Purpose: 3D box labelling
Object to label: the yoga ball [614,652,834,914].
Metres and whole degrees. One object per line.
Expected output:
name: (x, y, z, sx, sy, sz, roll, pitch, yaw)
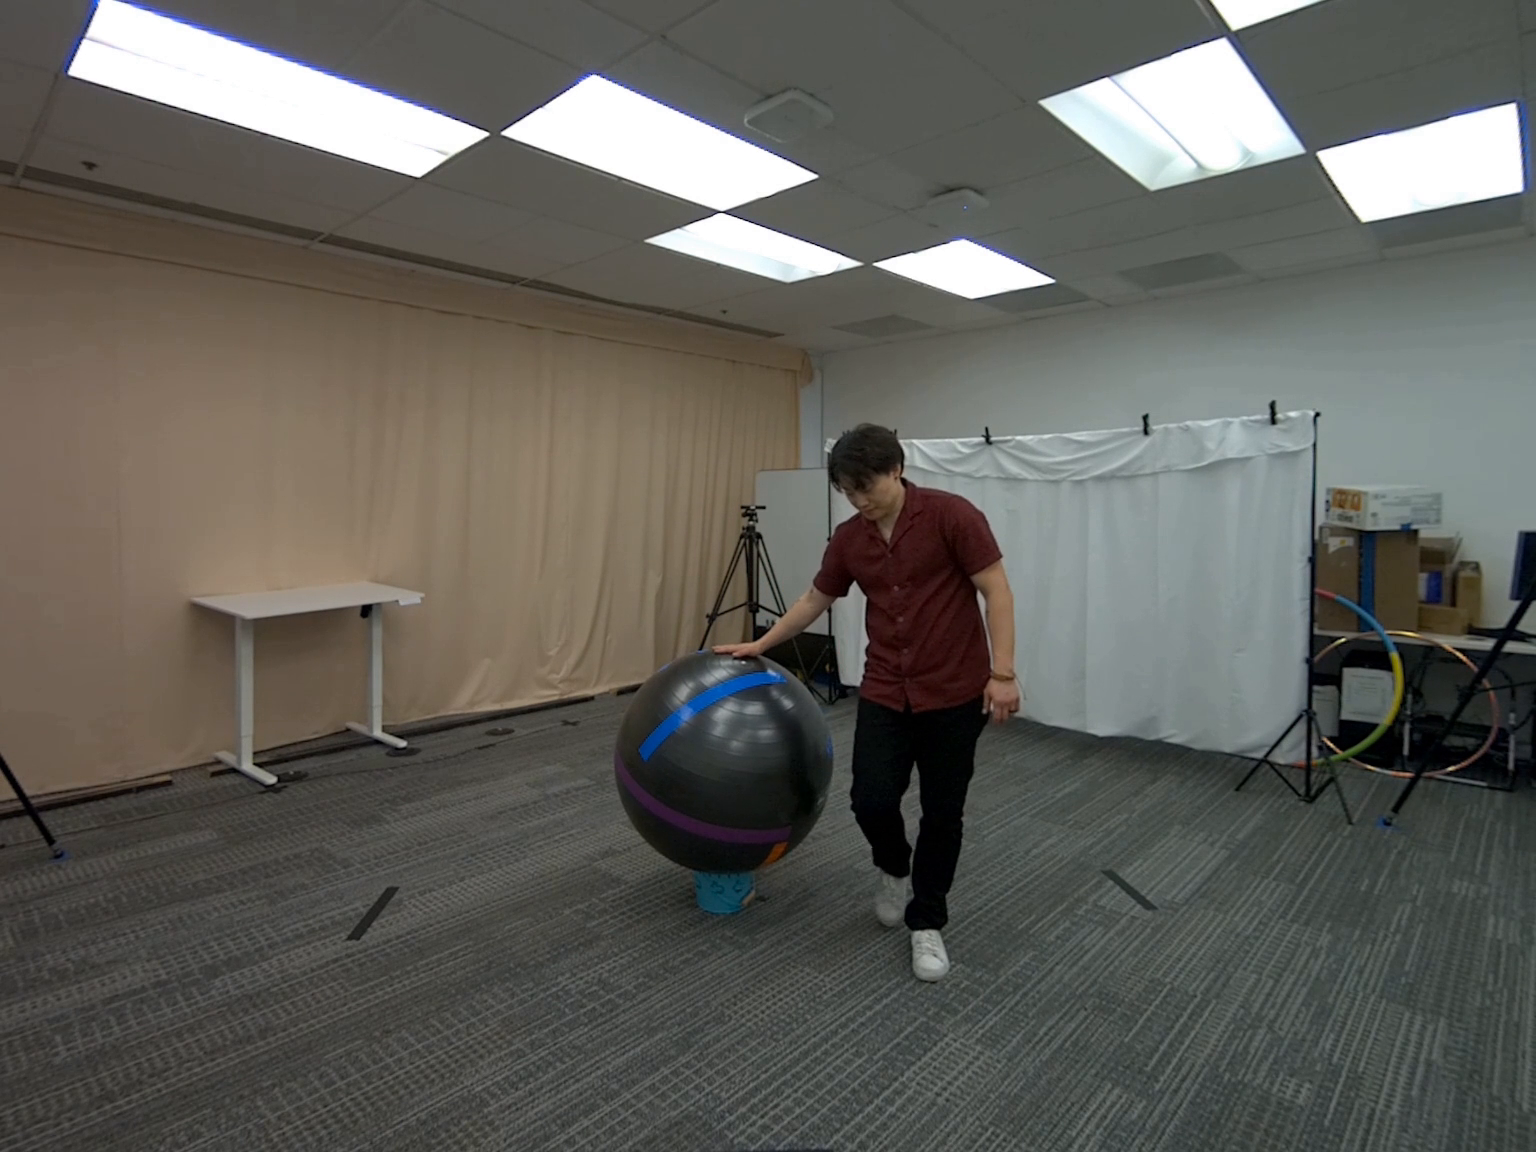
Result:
yoga ball: (-0.149, 0.639, 2.934, 0.757, 0.756, 0.760, 0, 4, -2)
